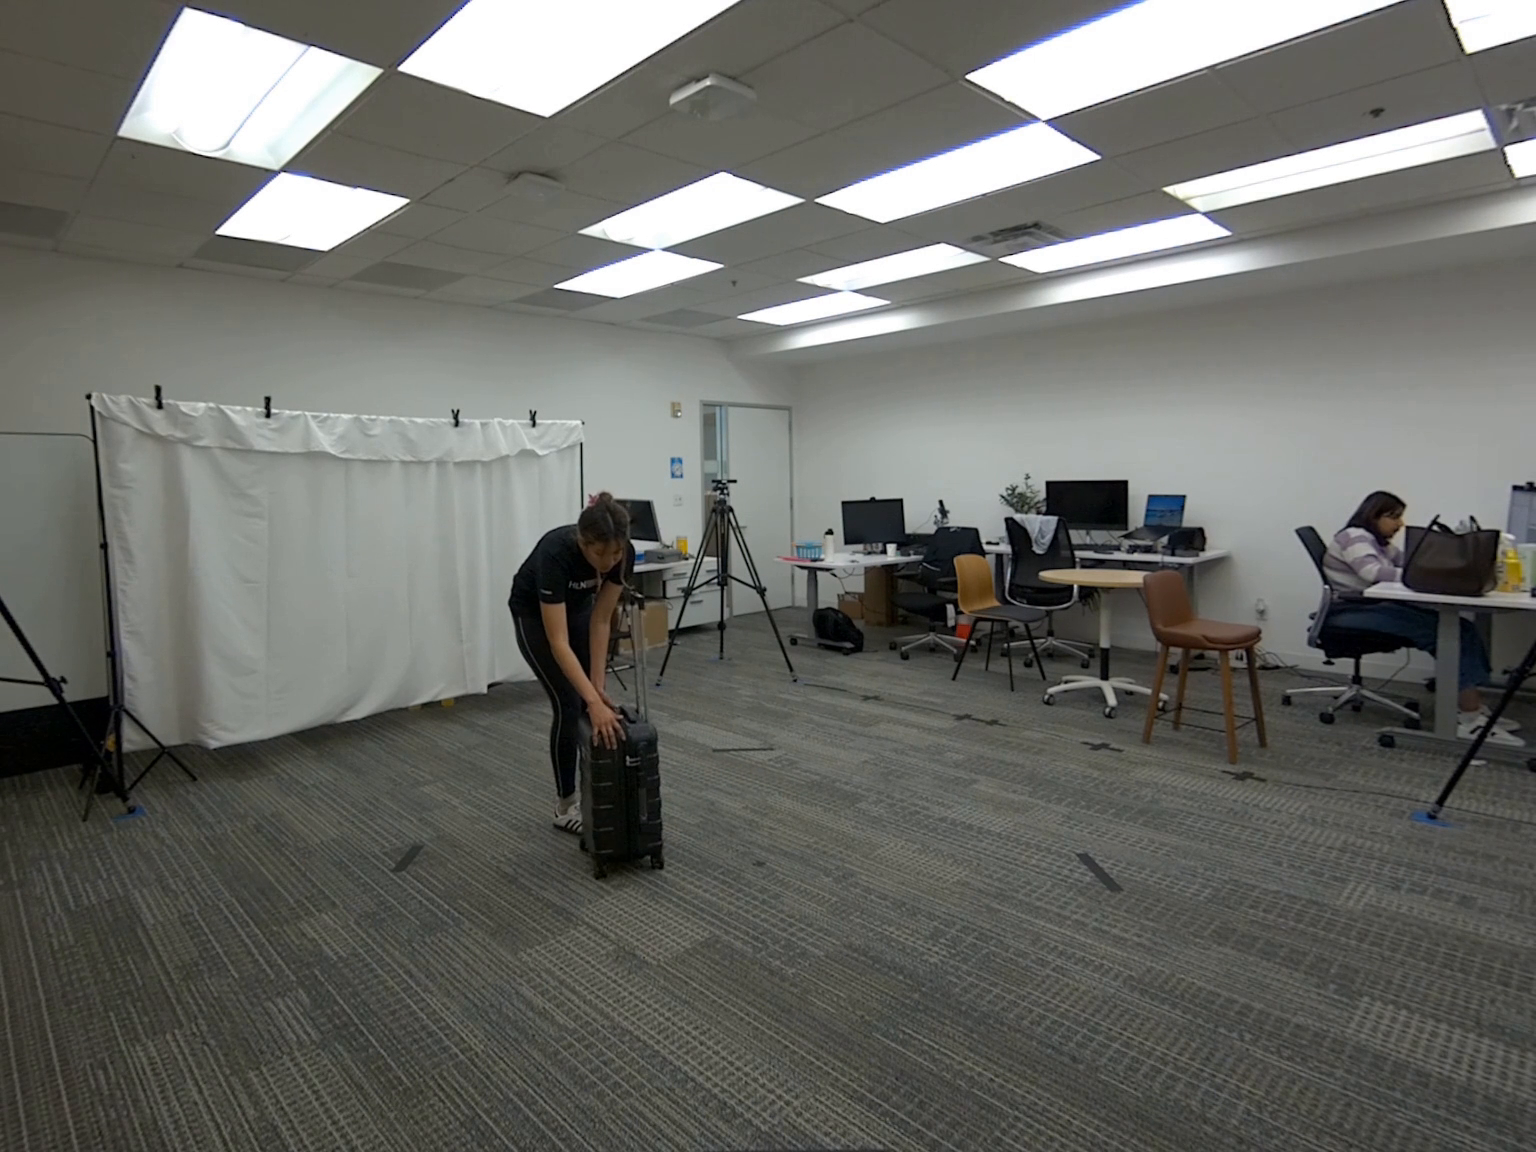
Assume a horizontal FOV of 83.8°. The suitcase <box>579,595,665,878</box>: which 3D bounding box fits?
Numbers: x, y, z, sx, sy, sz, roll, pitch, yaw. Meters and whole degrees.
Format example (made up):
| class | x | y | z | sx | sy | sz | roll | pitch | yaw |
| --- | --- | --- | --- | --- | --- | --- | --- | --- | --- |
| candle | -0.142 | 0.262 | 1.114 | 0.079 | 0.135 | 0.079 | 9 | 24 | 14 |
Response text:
| class | x | y | z | sx | sy | sz | roll | pitch | yaw |
| --- | --- | --- | --- | --- | --- | --- | --- | --- | --- |
| suitcase | -0.555 | 0.573 | 3.142 | 0.253 | 0.975 | 0.391 | -4 | 4 | -17 |
